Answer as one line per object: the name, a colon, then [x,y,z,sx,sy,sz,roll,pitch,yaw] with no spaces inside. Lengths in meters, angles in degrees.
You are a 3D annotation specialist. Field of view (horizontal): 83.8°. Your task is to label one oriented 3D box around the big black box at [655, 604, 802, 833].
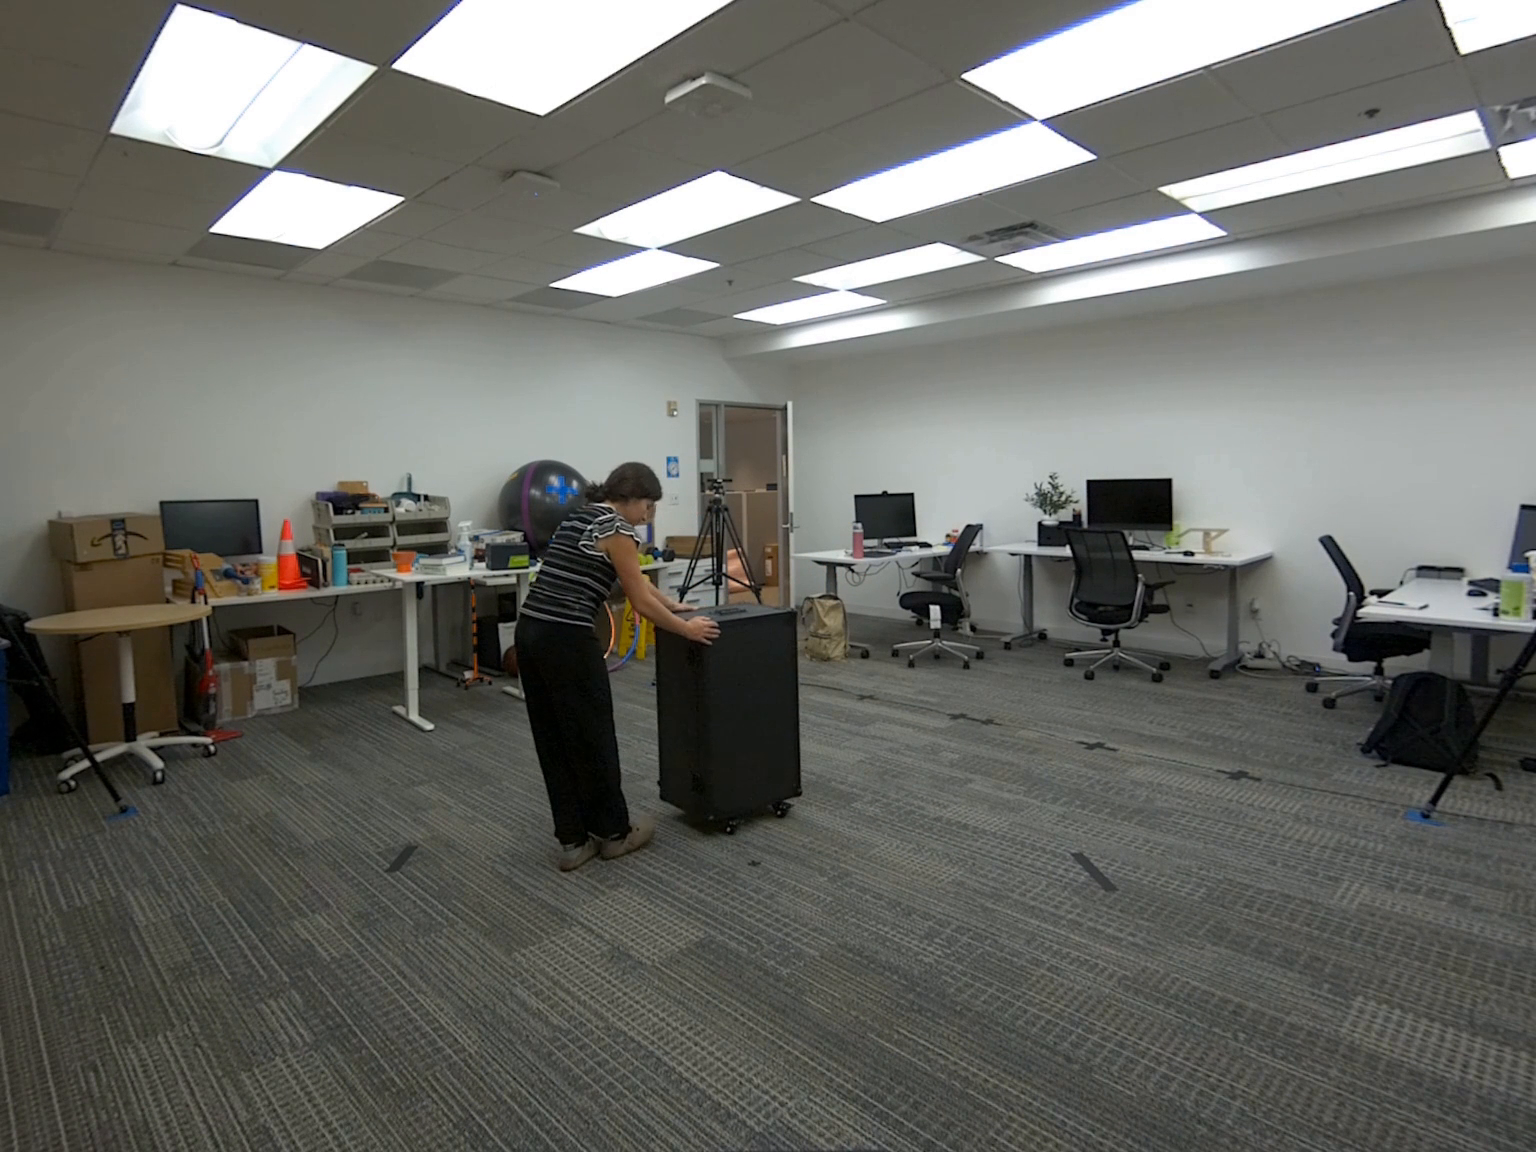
big black box: [-0.174,0.574,3.556,0.508,0.859,0.407,-5,4,-37]
